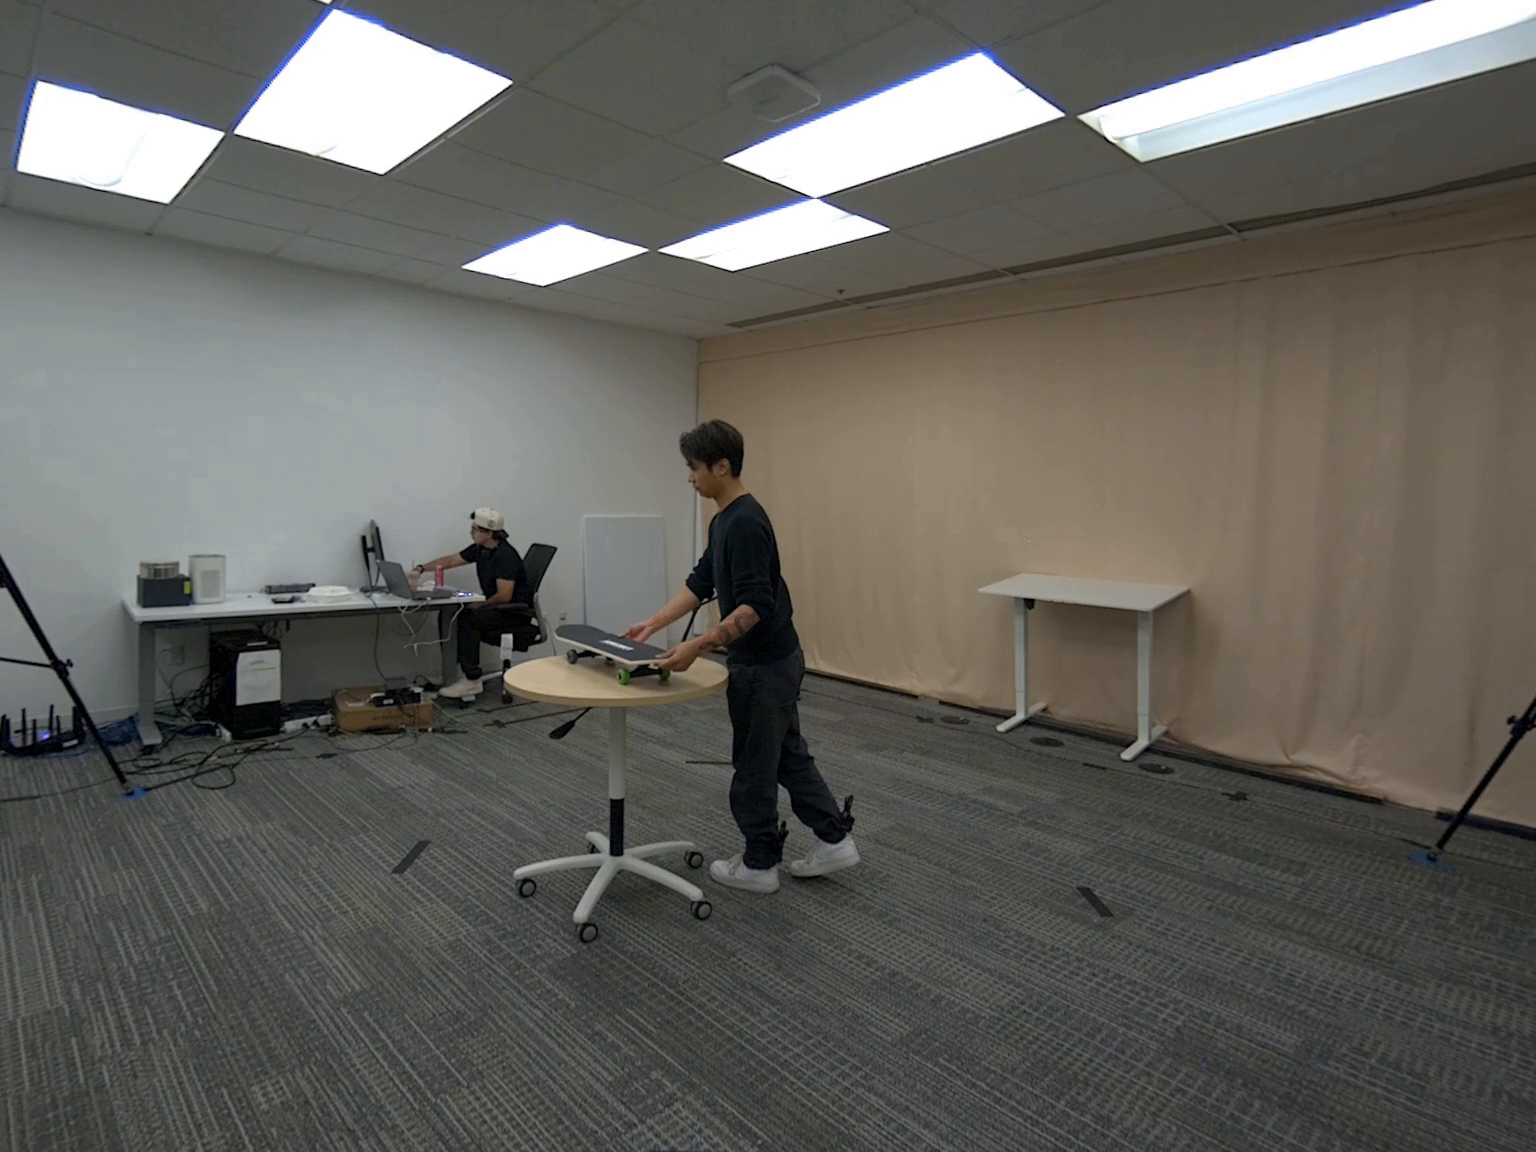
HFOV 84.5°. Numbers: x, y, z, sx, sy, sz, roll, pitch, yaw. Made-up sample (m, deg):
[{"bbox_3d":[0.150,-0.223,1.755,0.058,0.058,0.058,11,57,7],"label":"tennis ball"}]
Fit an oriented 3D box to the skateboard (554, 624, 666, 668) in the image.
[{"bbox_3d":[-0.532,0.279,2.924,0.189,0.110,0.805,-3,7,-37],"label":"skateboard"}]
